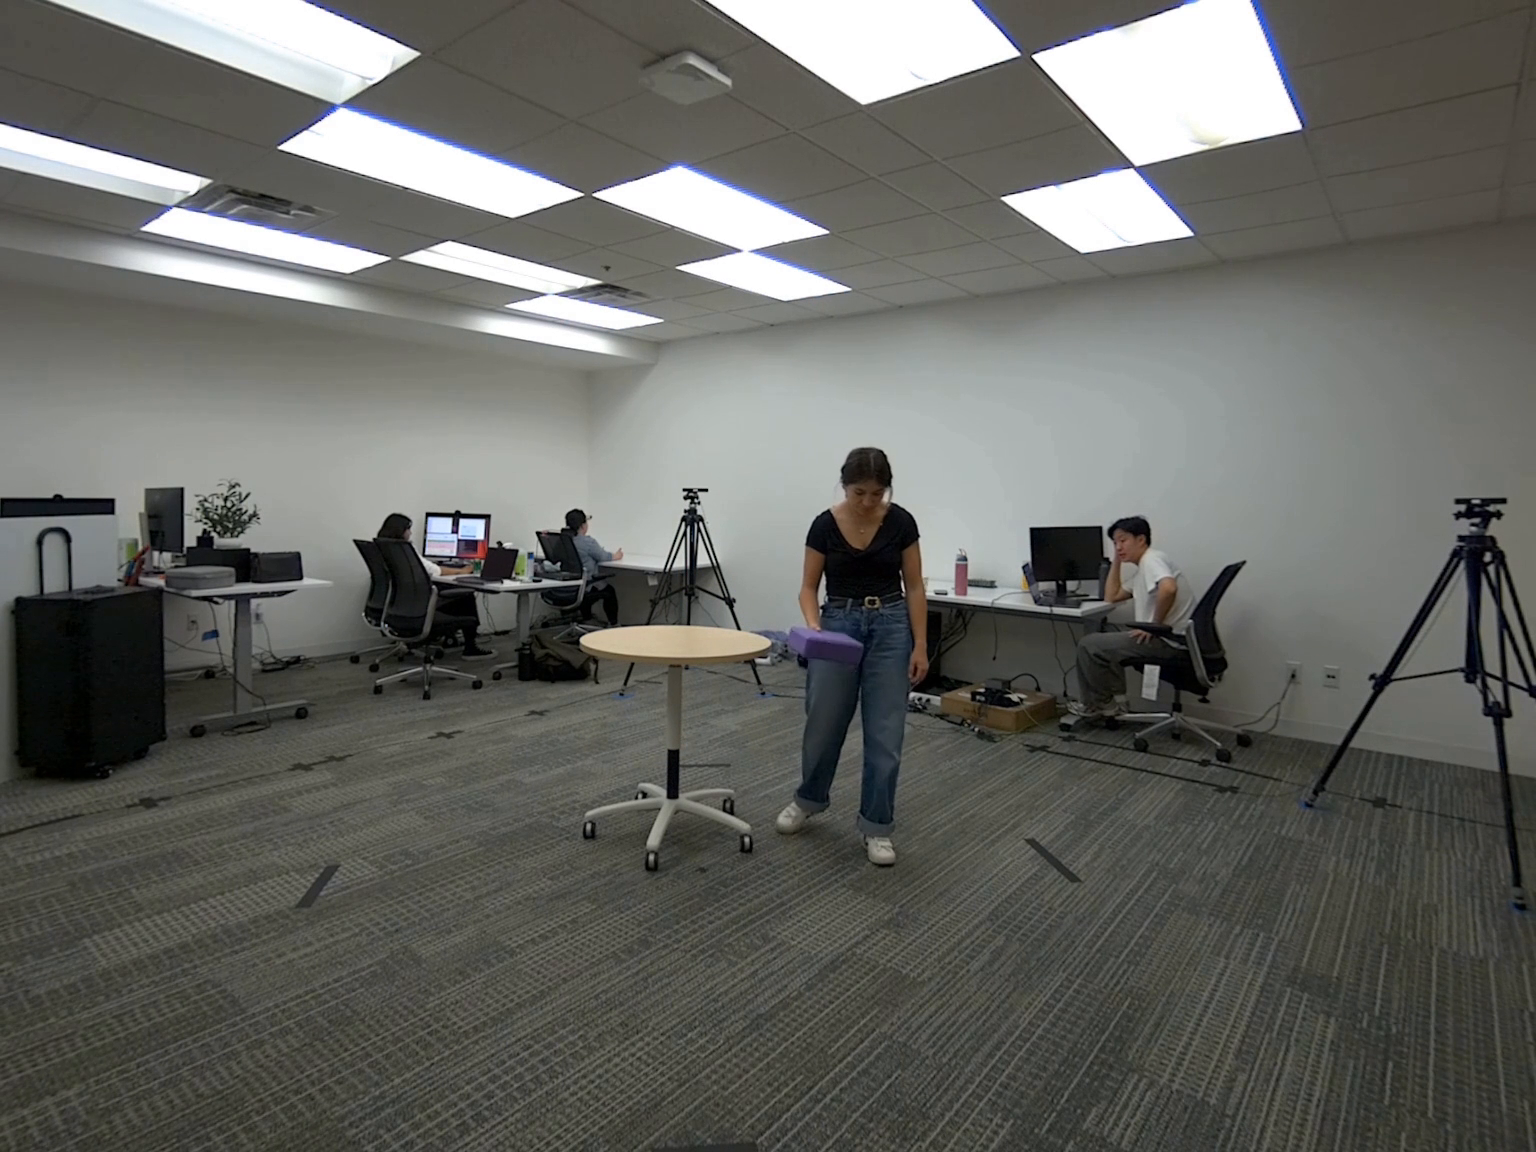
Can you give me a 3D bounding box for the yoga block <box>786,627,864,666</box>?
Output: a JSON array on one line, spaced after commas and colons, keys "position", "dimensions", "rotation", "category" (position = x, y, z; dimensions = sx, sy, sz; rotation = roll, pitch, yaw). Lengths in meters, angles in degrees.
[{"position": [0.195, 0.238, 3.020], "dimensions": [0.224, 0.076, 0.153], "rotation": [8, 8, -20], "category": "yoga block"}]
